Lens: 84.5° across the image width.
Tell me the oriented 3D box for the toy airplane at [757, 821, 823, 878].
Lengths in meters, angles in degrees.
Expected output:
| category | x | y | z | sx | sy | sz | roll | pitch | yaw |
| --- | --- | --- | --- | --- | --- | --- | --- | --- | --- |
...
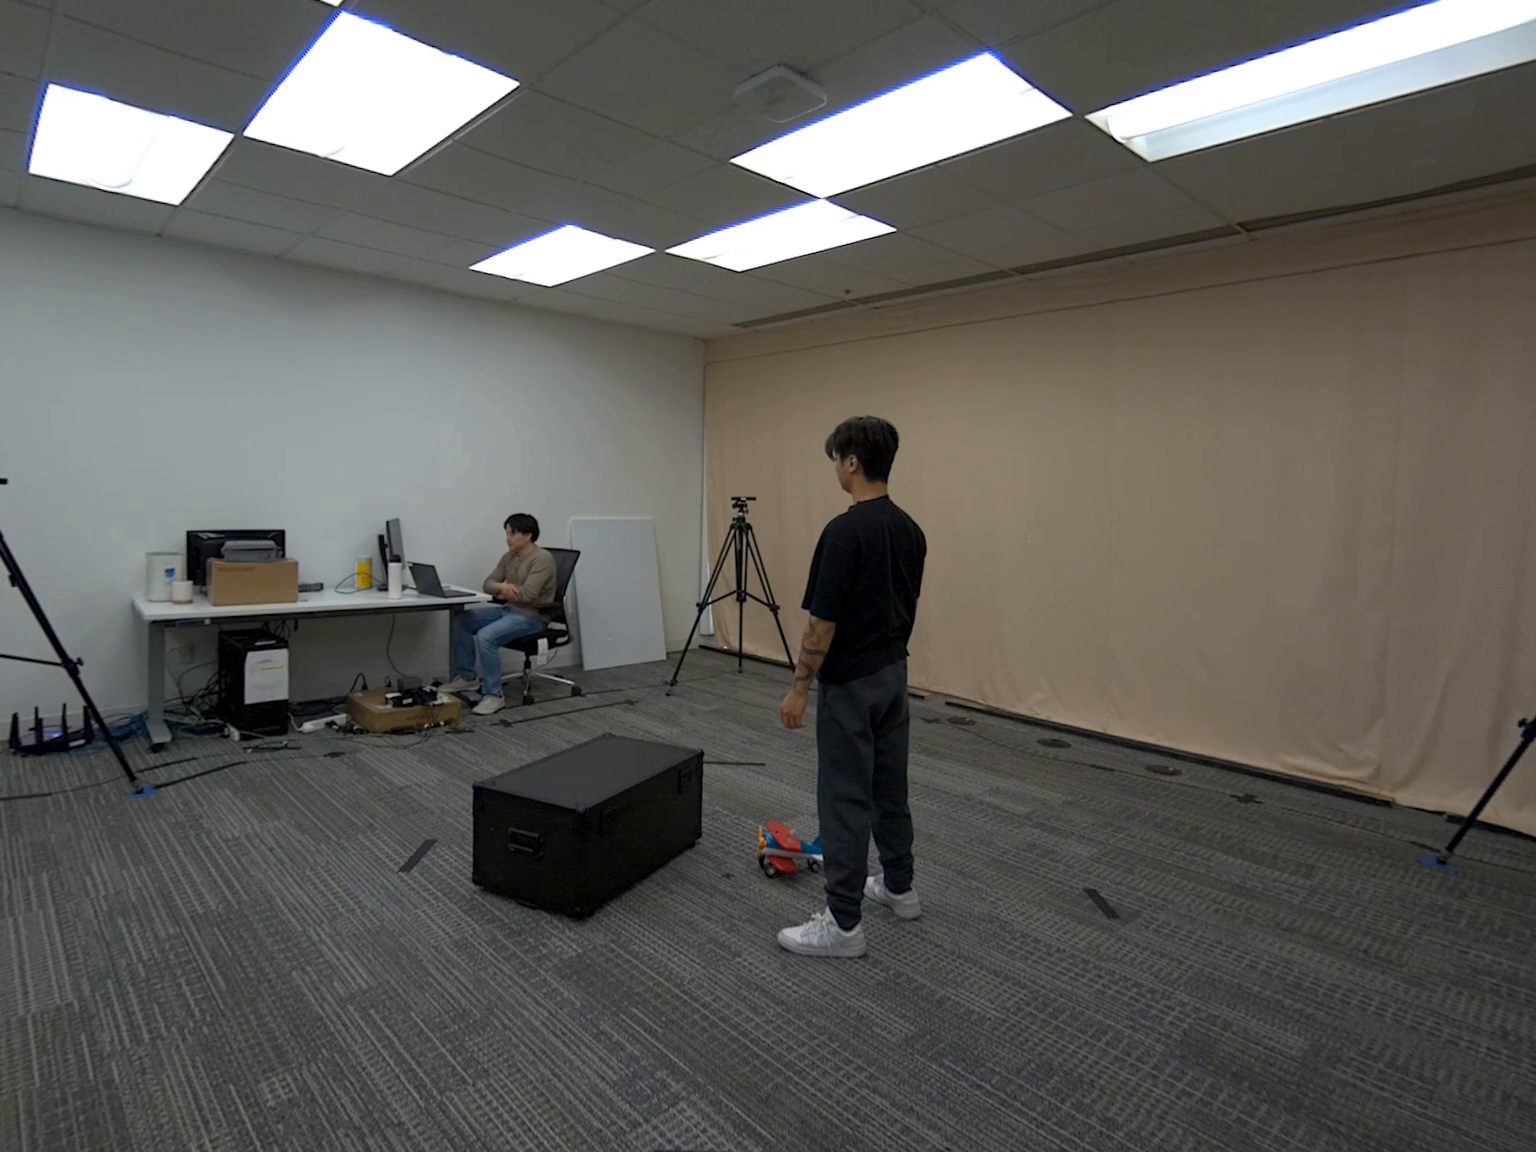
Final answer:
| category | x | y | z | sx | sy | sz | roll | pitch | yaw |
| --- | --- | --- | --- | --- | --- | --- | --- | --- | --- |
| toy airplane | 0.065 | 1.028 | 3.176 | 0.253 | 0.156 | 0.257 | -4 | 7 | -42 |
